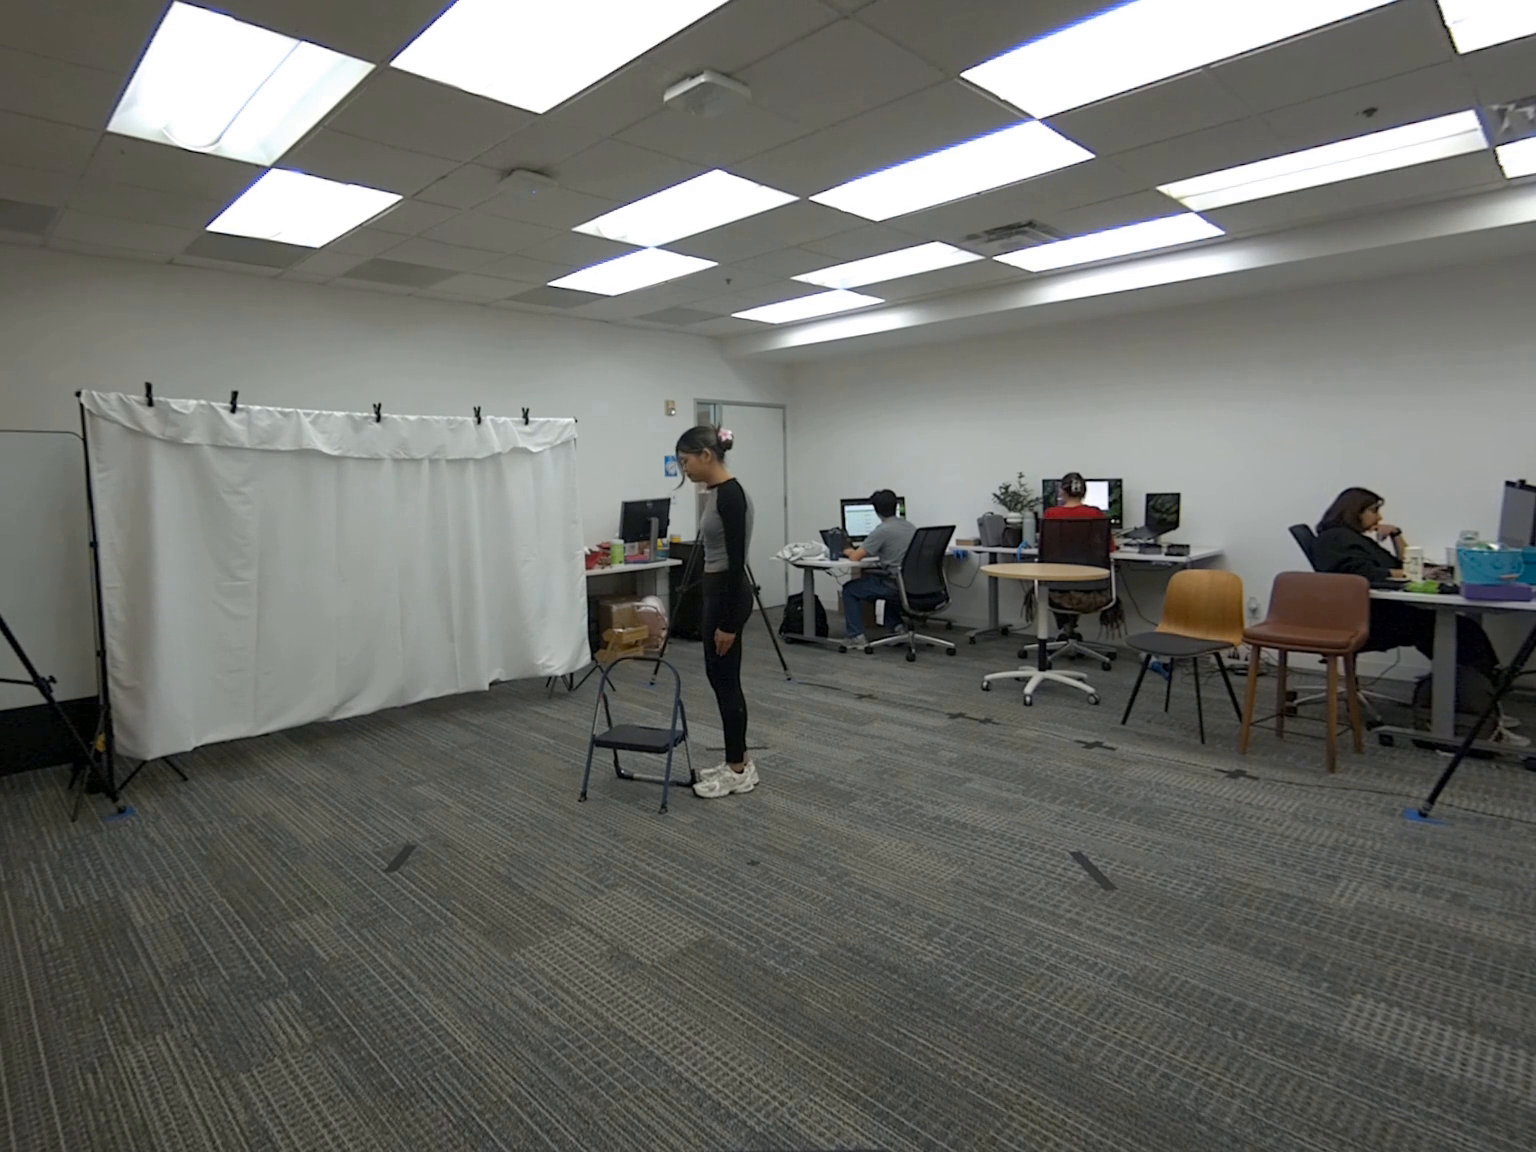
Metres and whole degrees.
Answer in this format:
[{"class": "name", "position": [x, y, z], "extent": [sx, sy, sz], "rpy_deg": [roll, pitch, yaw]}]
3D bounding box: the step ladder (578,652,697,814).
[{"class": "step ladder", "position": [-0.582, 0.680, 3.800], "extent": [0.439, 0.604, 0.343], "rpy_deg": [0, 4, 21]}]
